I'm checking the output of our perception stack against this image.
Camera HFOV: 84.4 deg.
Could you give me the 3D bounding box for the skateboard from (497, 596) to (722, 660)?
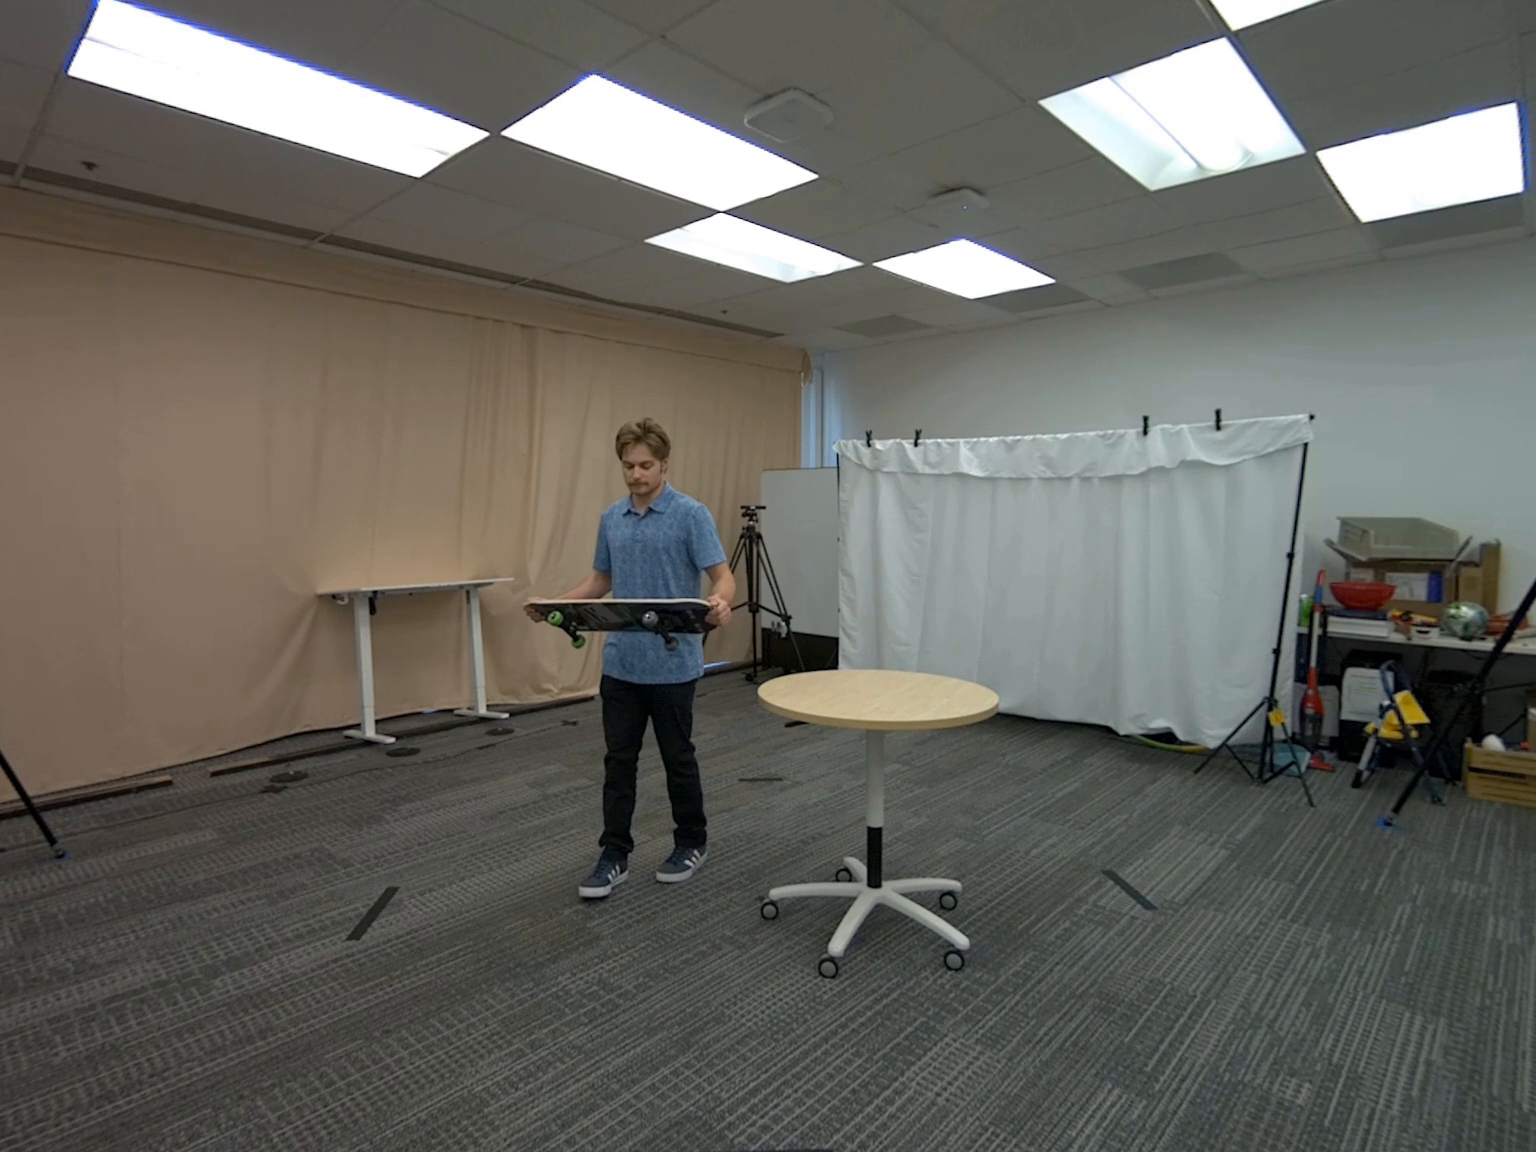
[{"bbox_3d":[-0.558,0.170,2.898,0.807,0.111,0.187,-1,-39,29],"label":"skateboard"}]
